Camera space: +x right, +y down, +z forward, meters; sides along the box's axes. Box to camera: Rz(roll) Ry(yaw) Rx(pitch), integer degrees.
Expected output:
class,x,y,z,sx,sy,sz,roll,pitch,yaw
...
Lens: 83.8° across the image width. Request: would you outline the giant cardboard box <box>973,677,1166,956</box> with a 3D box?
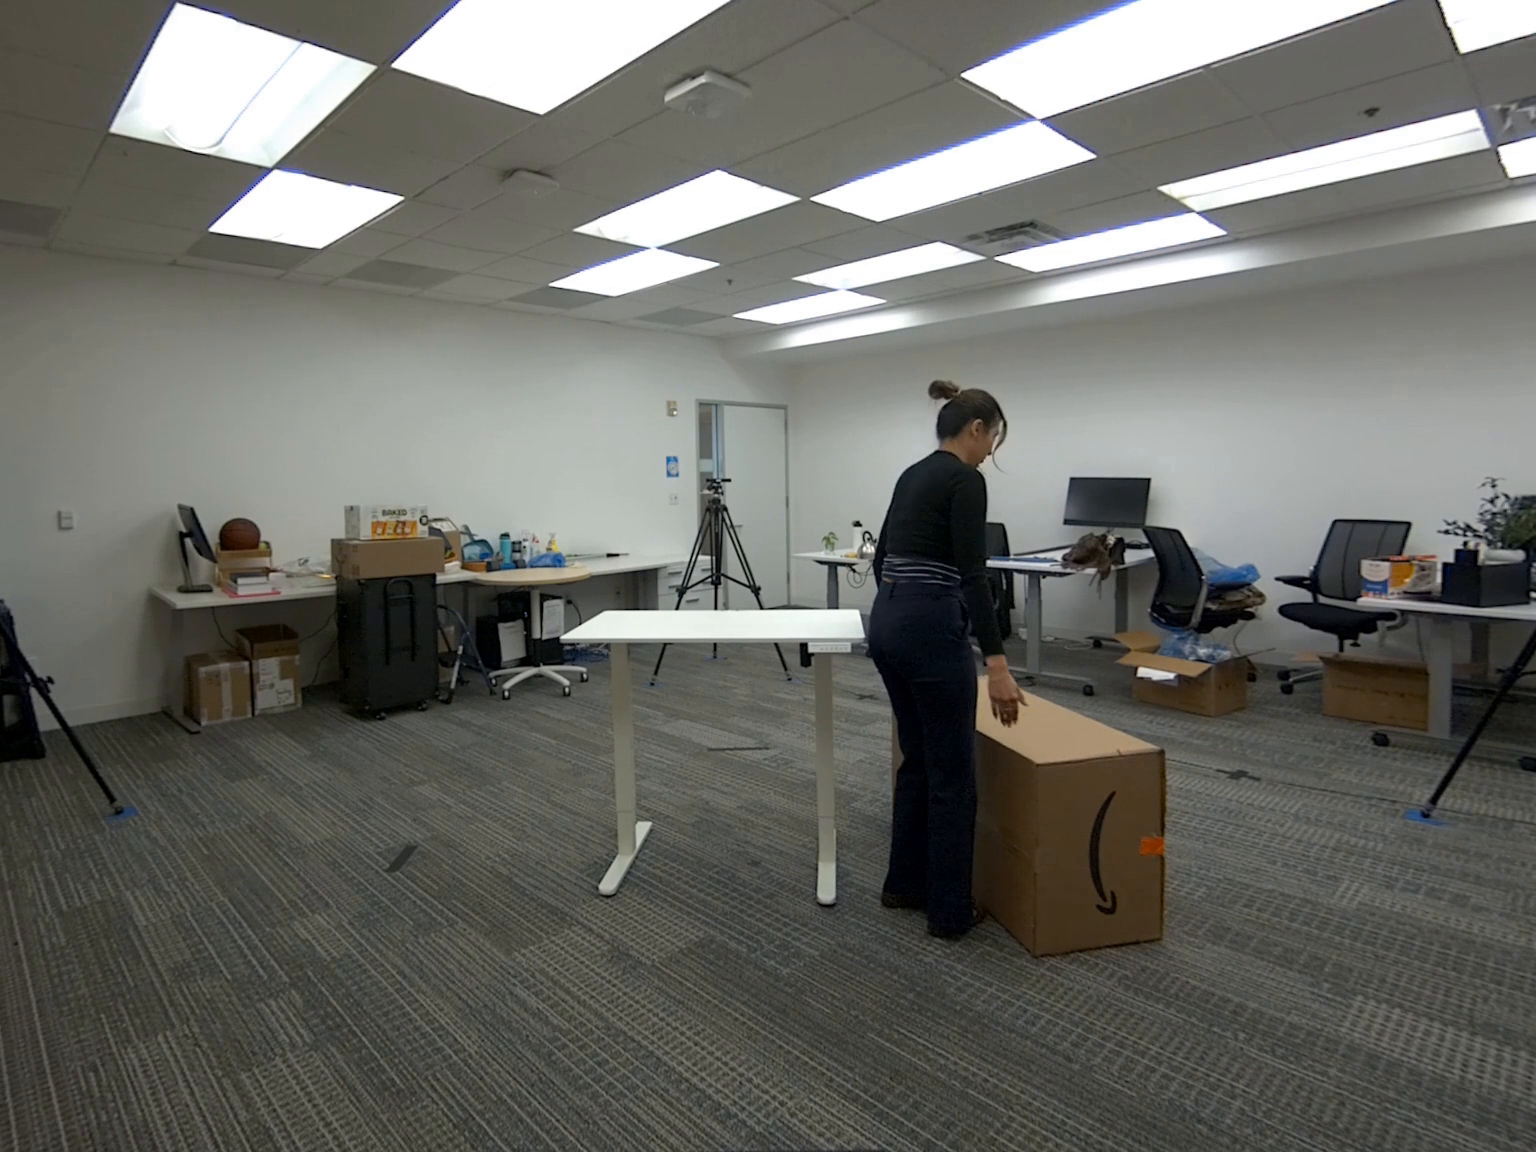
class,x,y,z,sx,sy,sz,roll,pitch,yaw
giant cardboard box,0.845,0.748,2.985,0.421,0.575,1.042,-2,5,-14
